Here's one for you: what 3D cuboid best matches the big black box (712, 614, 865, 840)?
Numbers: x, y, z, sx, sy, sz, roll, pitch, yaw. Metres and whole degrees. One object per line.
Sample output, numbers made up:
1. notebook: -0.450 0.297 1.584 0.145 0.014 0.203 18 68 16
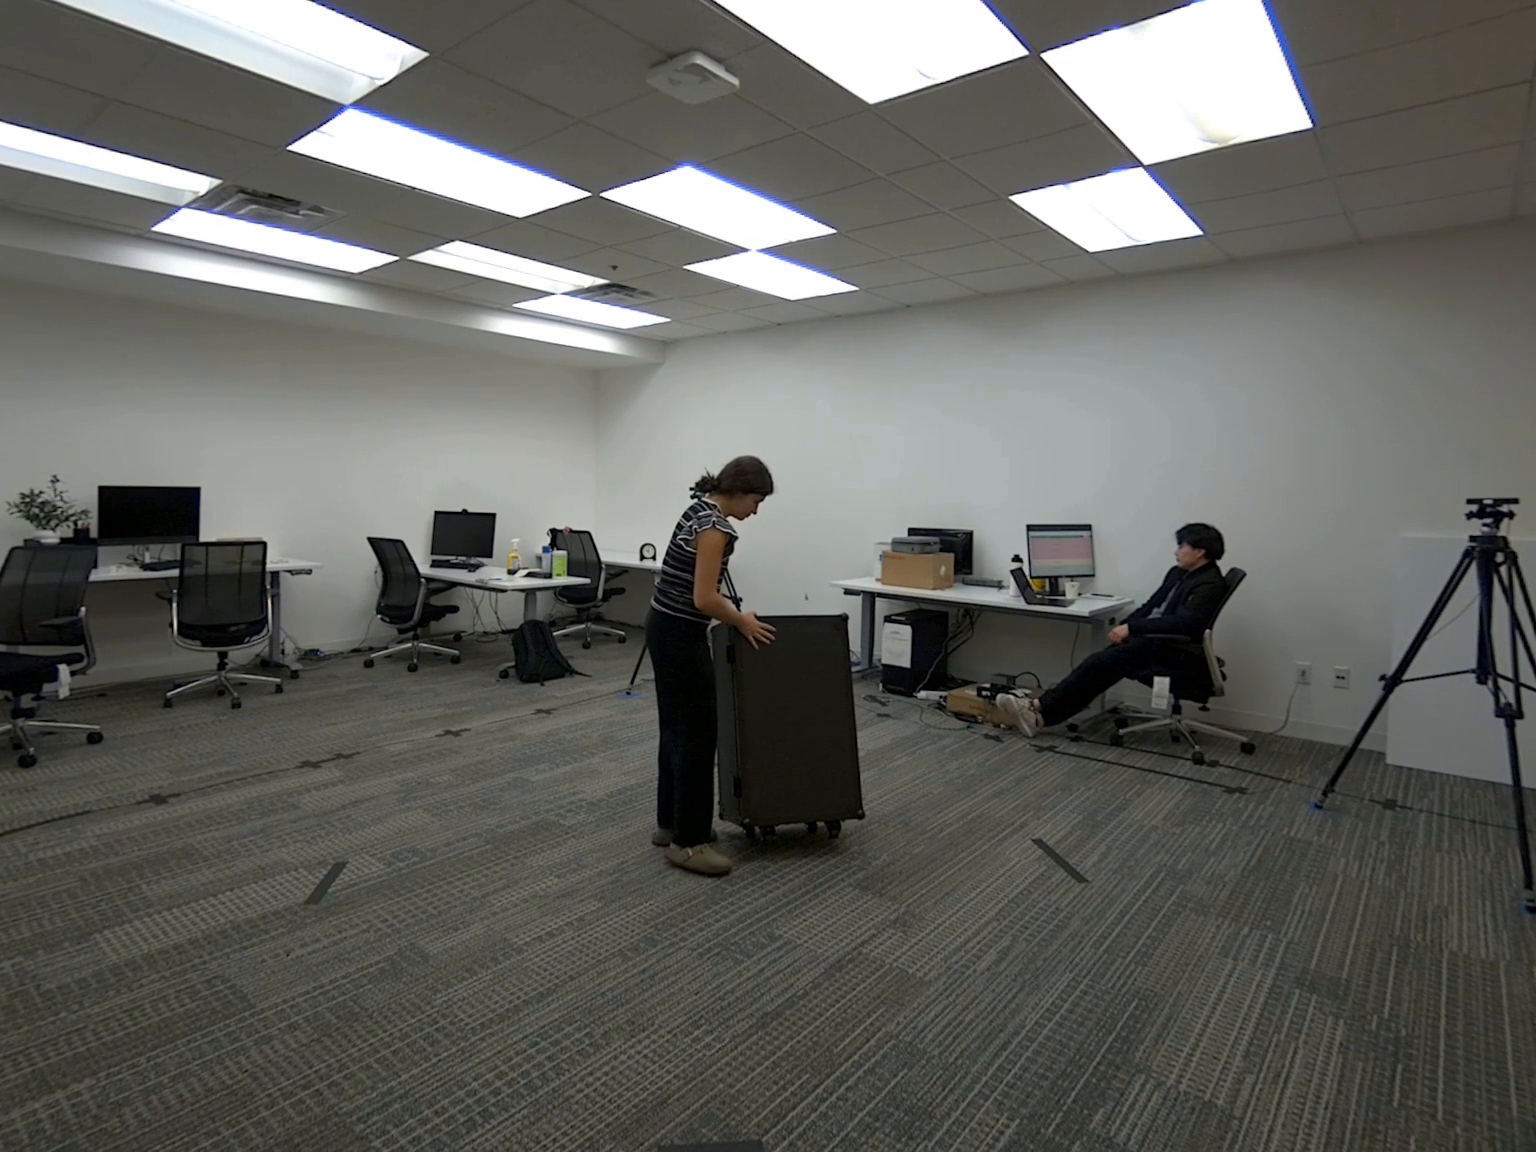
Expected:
1. big black box: 0.056 0.604 3.441 0.514 0.873 0.397 0 -13 -14
